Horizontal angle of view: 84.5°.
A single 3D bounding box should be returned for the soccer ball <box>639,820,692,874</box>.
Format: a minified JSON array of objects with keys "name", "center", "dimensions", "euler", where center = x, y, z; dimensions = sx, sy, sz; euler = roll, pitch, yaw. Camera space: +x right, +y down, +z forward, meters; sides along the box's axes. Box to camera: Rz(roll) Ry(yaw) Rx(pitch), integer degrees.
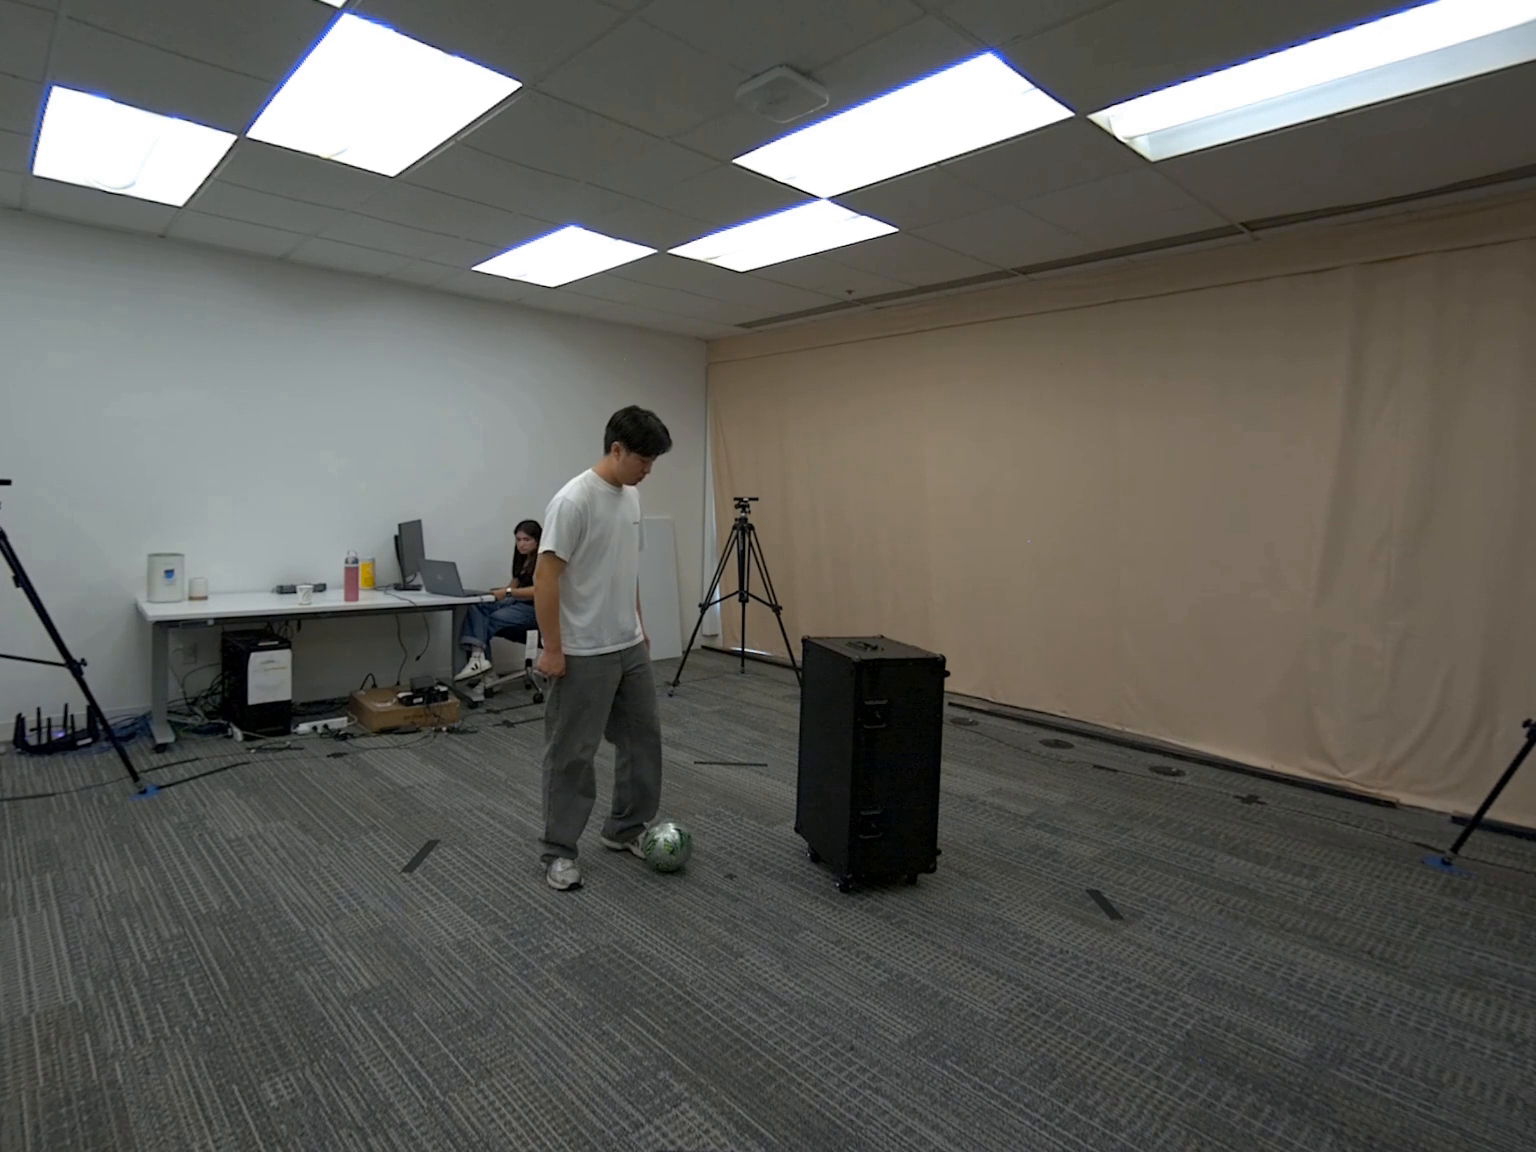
[{"name":"soccer ball","center":[-0.380,1.004,3.141],"dimensions":[0.187,0.187,0.188],"euler":[1,4,-1]}]
